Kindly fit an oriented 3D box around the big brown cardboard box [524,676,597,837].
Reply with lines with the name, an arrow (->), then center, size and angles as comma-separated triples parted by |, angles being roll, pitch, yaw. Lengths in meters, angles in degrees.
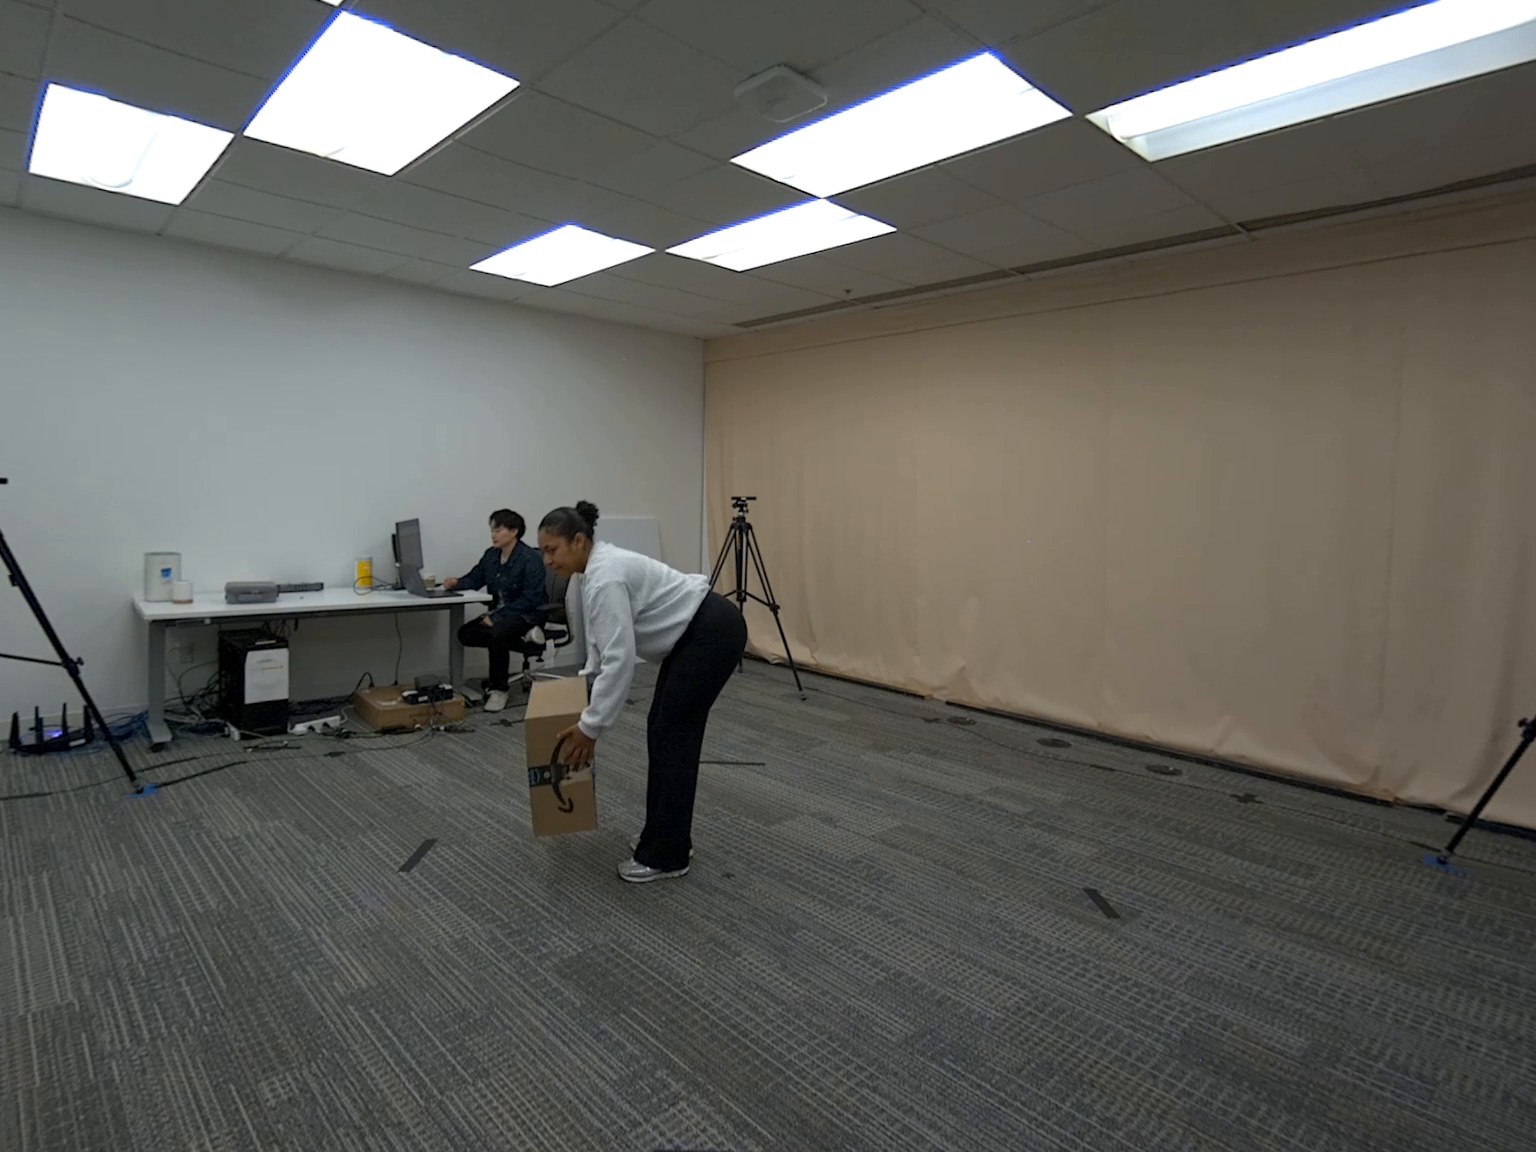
big brown cardboard box -> -0.774, 0.648, 3.146 | 0.231, 0.416, 0.595 | -4, 6, -10
